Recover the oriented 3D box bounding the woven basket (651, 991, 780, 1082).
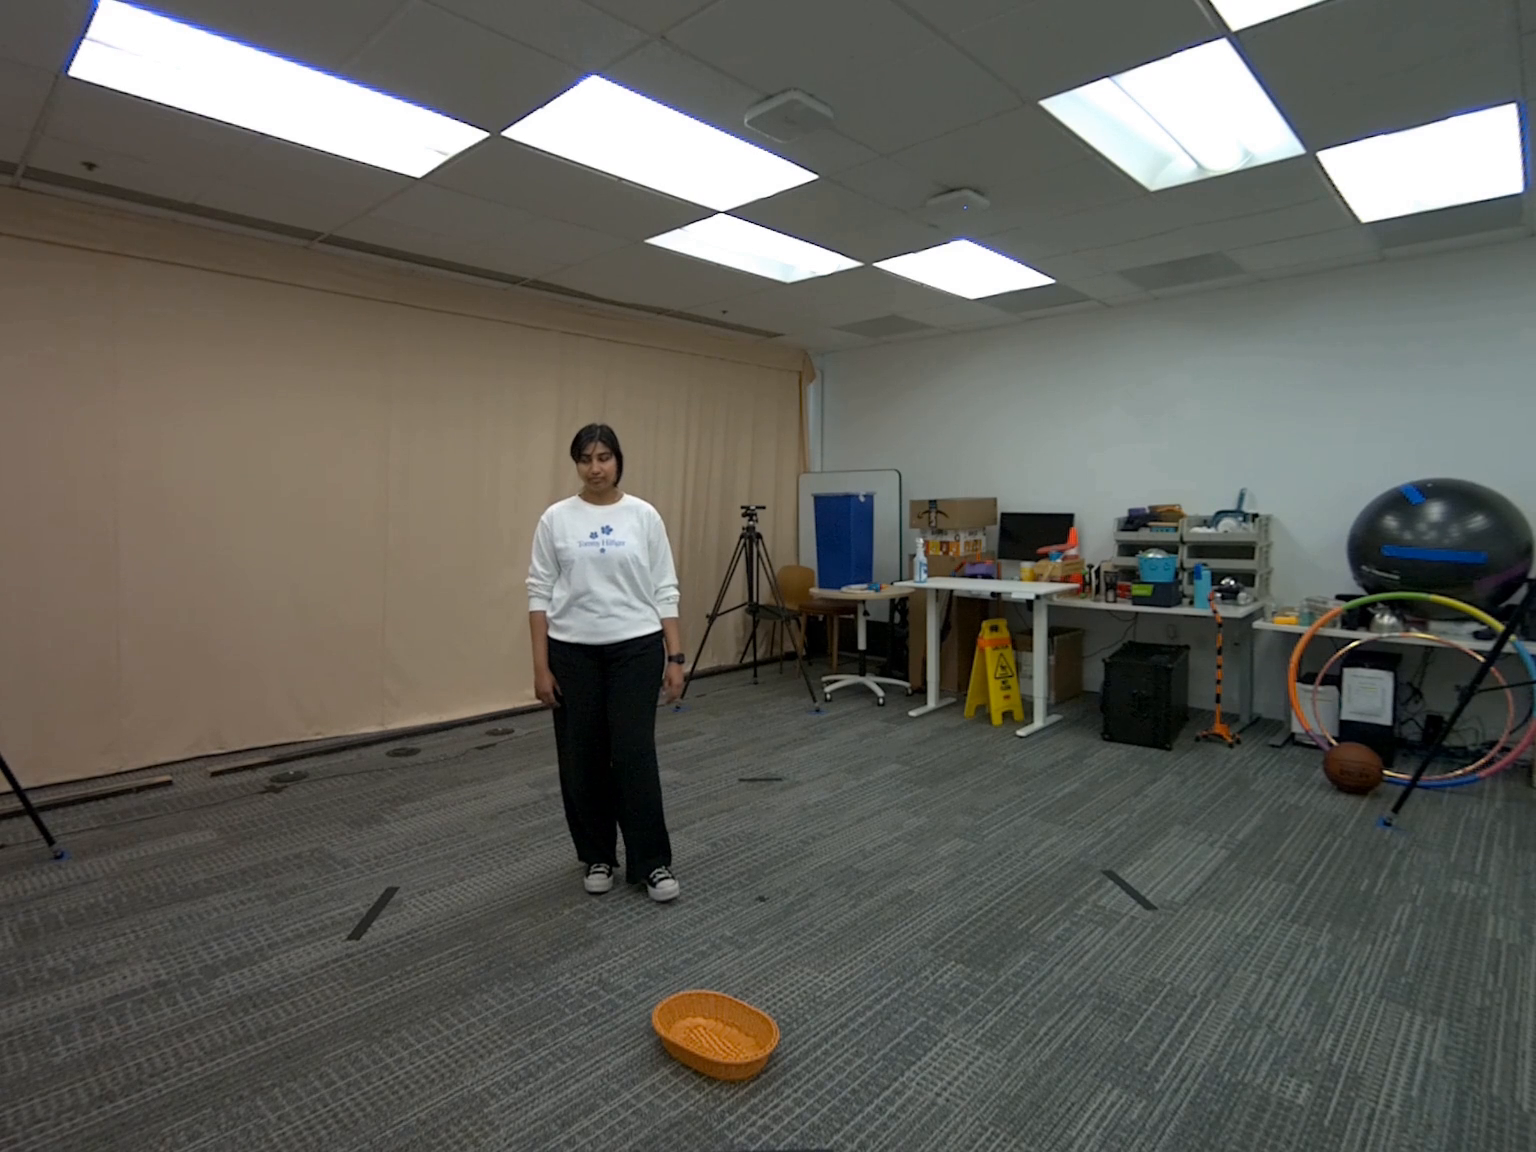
[{"bbox_3d":[-0.129,1.174,2.154,0.362,0.073,0.245,3,5,37],"label":"woven basket"}]
